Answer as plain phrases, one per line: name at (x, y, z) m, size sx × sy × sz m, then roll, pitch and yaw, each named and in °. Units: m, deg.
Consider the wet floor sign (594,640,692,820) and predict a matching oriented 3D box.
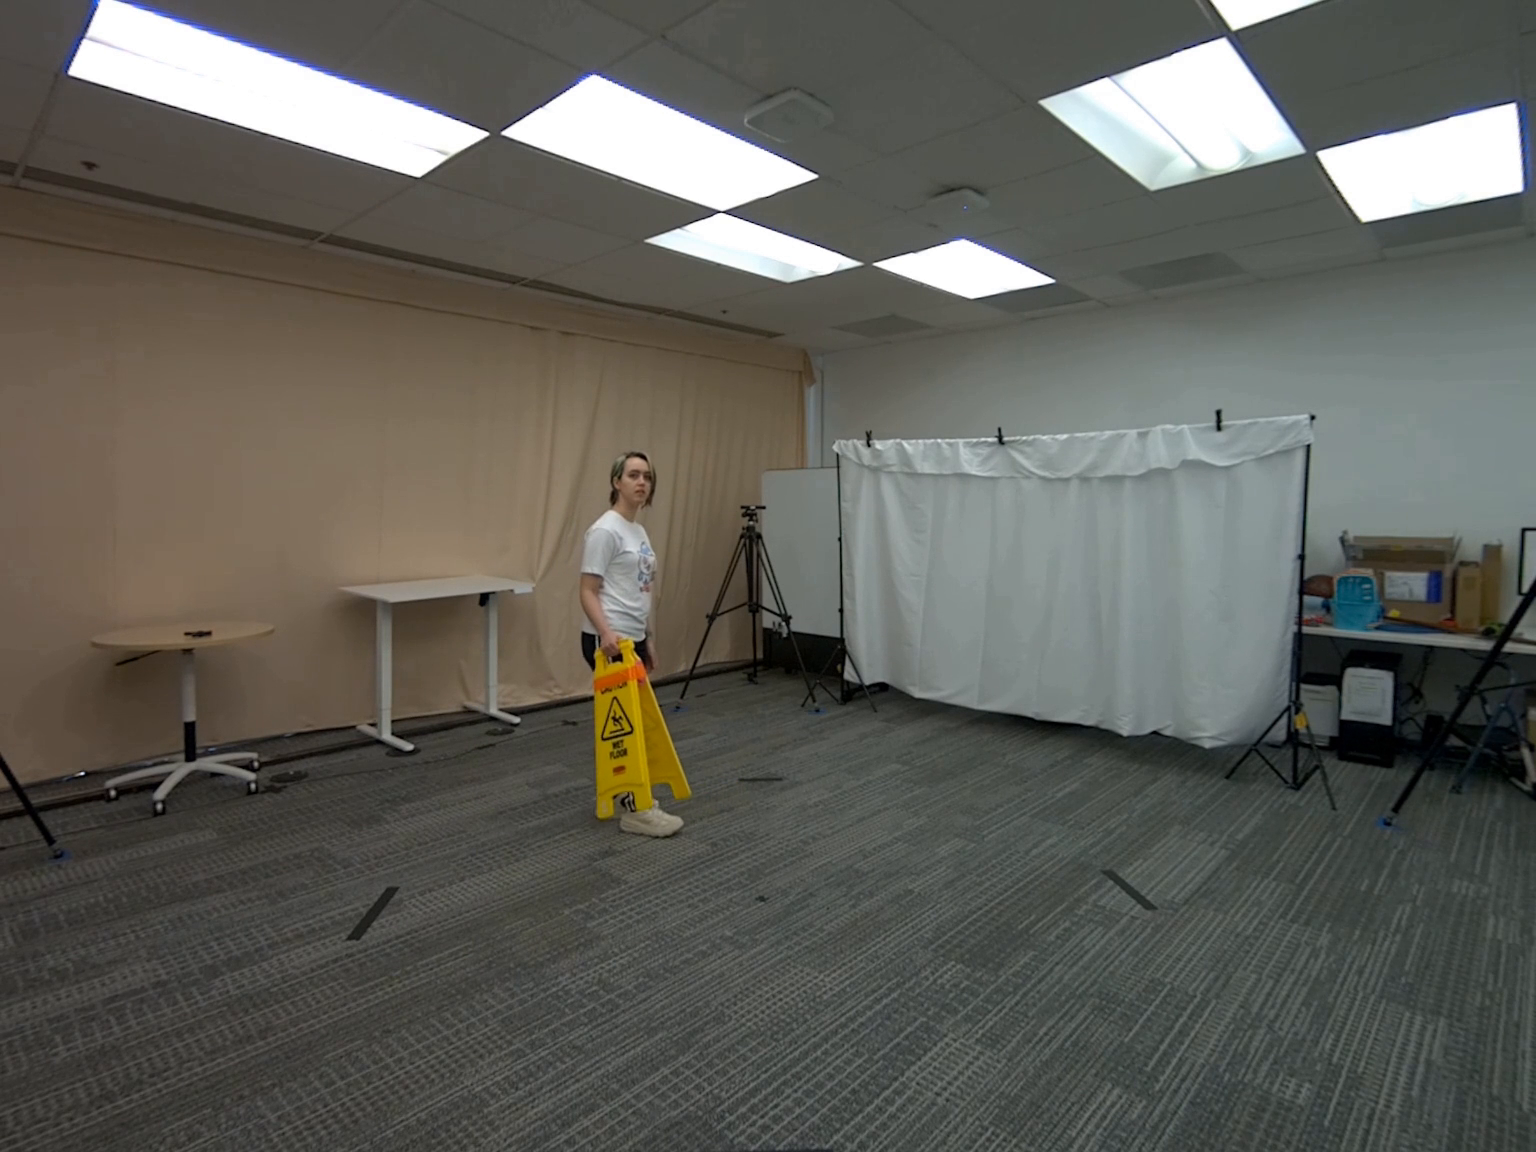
wet floor sign at (-0.541, 0.580, 3.312) m, size 0.288 × 0.653 × 0.280 m, roll -21°, pitch -14°, yaw 32°
